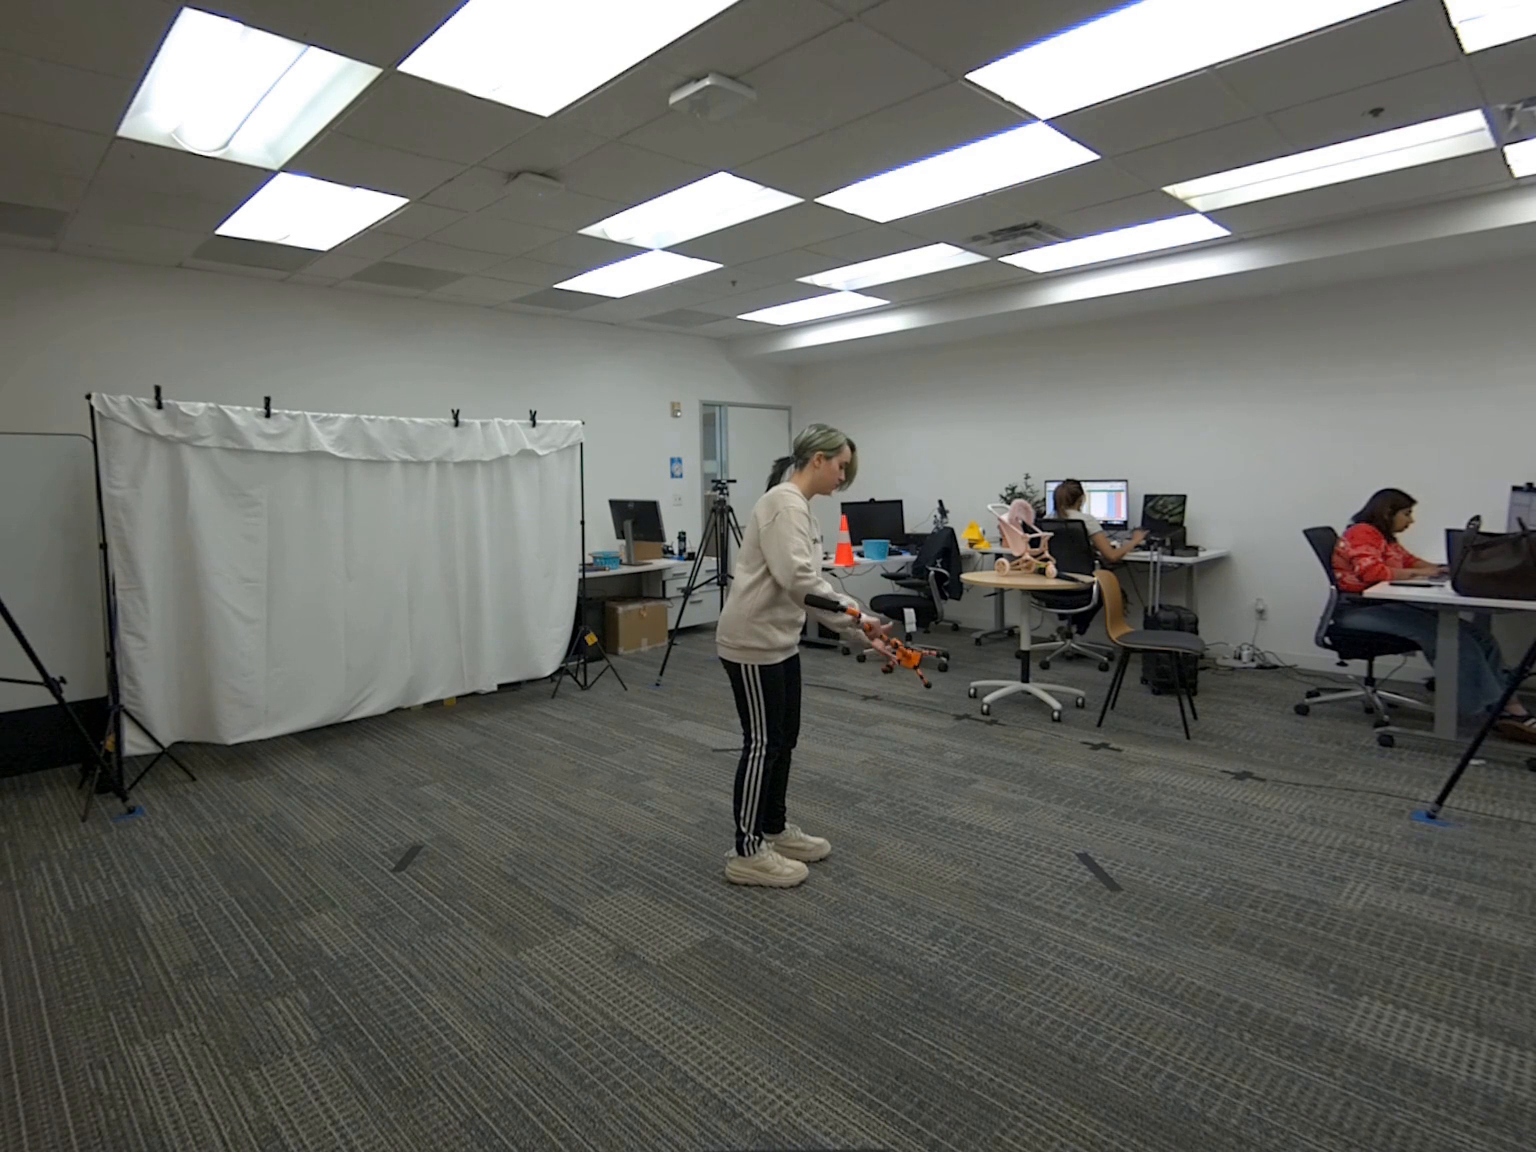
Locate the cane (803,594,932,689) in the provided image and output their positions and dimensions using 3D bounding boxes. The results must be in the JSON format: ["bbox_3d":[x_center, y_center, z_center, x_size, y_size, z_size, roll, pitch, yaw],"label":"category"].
[{"bbox_3d":[0.382,0.235,2.923,0.213,0.152,0.877,14,-9,29],"label":"cane"}]
